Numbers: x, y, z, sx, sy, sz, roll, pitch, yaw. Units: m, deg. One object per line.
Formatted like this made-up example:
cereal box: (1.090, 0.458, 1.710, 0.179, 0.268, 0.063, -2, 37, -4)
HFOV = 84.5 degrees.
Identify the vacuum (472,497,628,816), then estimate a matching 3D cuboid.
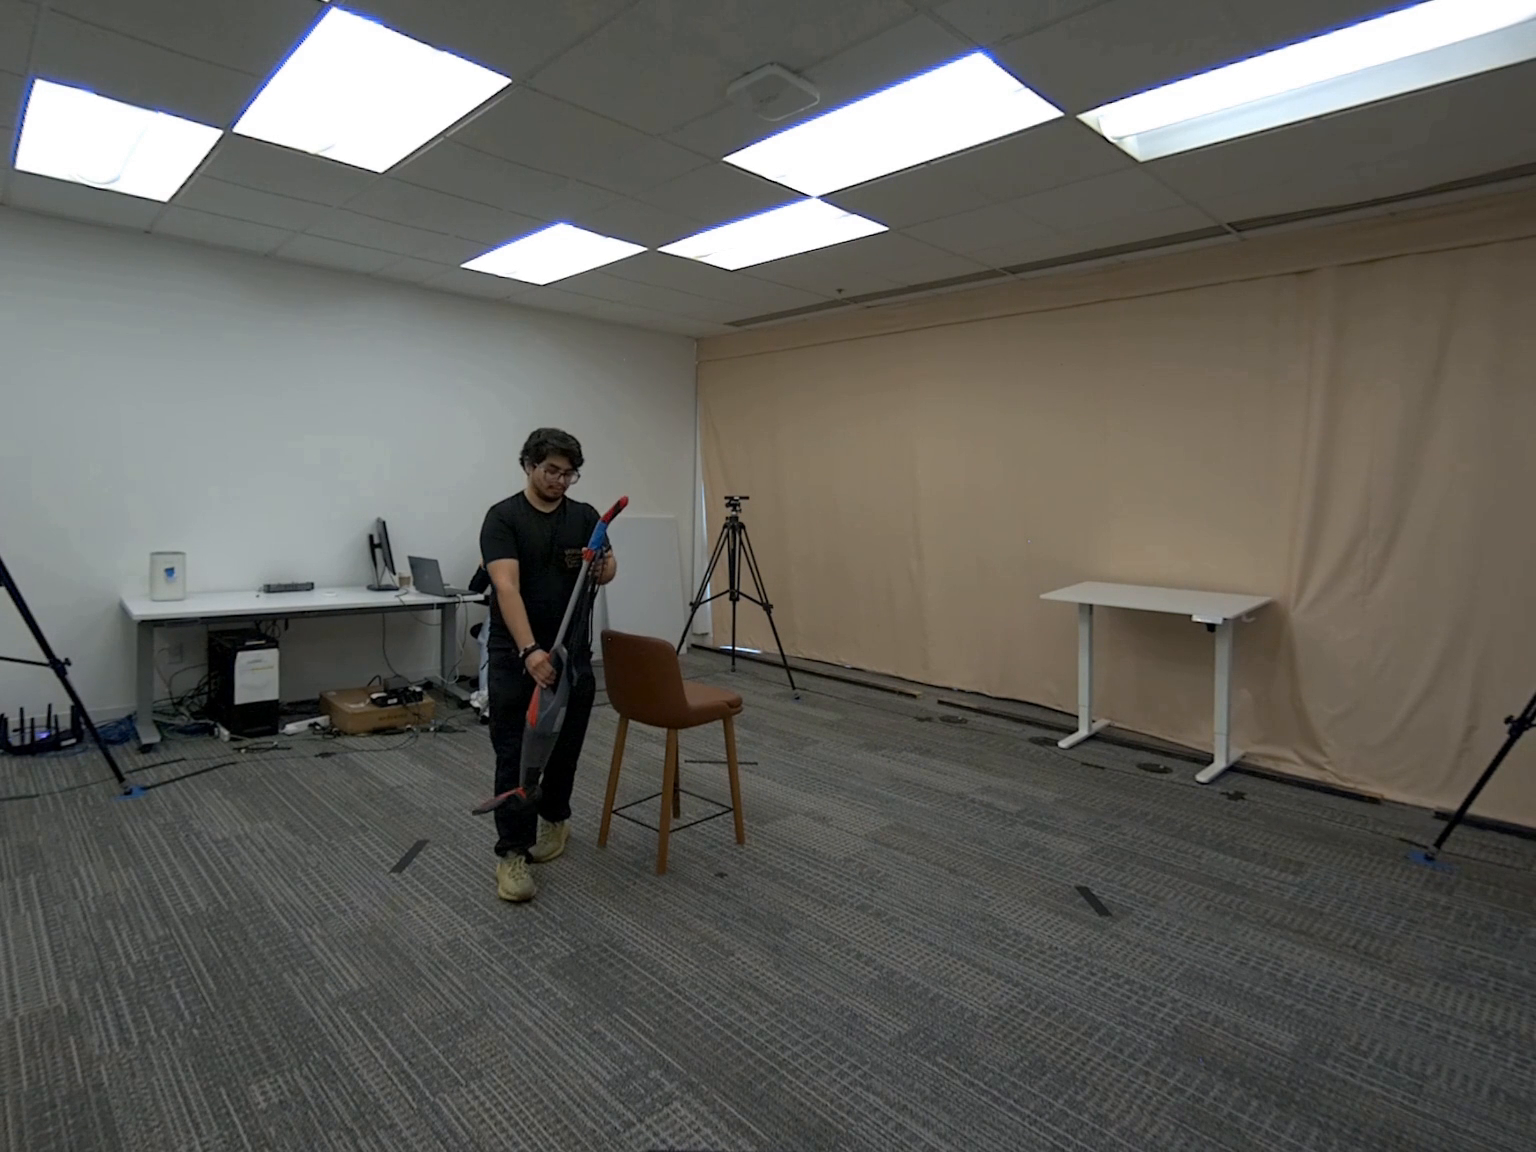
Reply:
vacuum: (-0.658, 0.246, 2.688, 0.148, 1.047, 0.245, 23, 6, 39)
